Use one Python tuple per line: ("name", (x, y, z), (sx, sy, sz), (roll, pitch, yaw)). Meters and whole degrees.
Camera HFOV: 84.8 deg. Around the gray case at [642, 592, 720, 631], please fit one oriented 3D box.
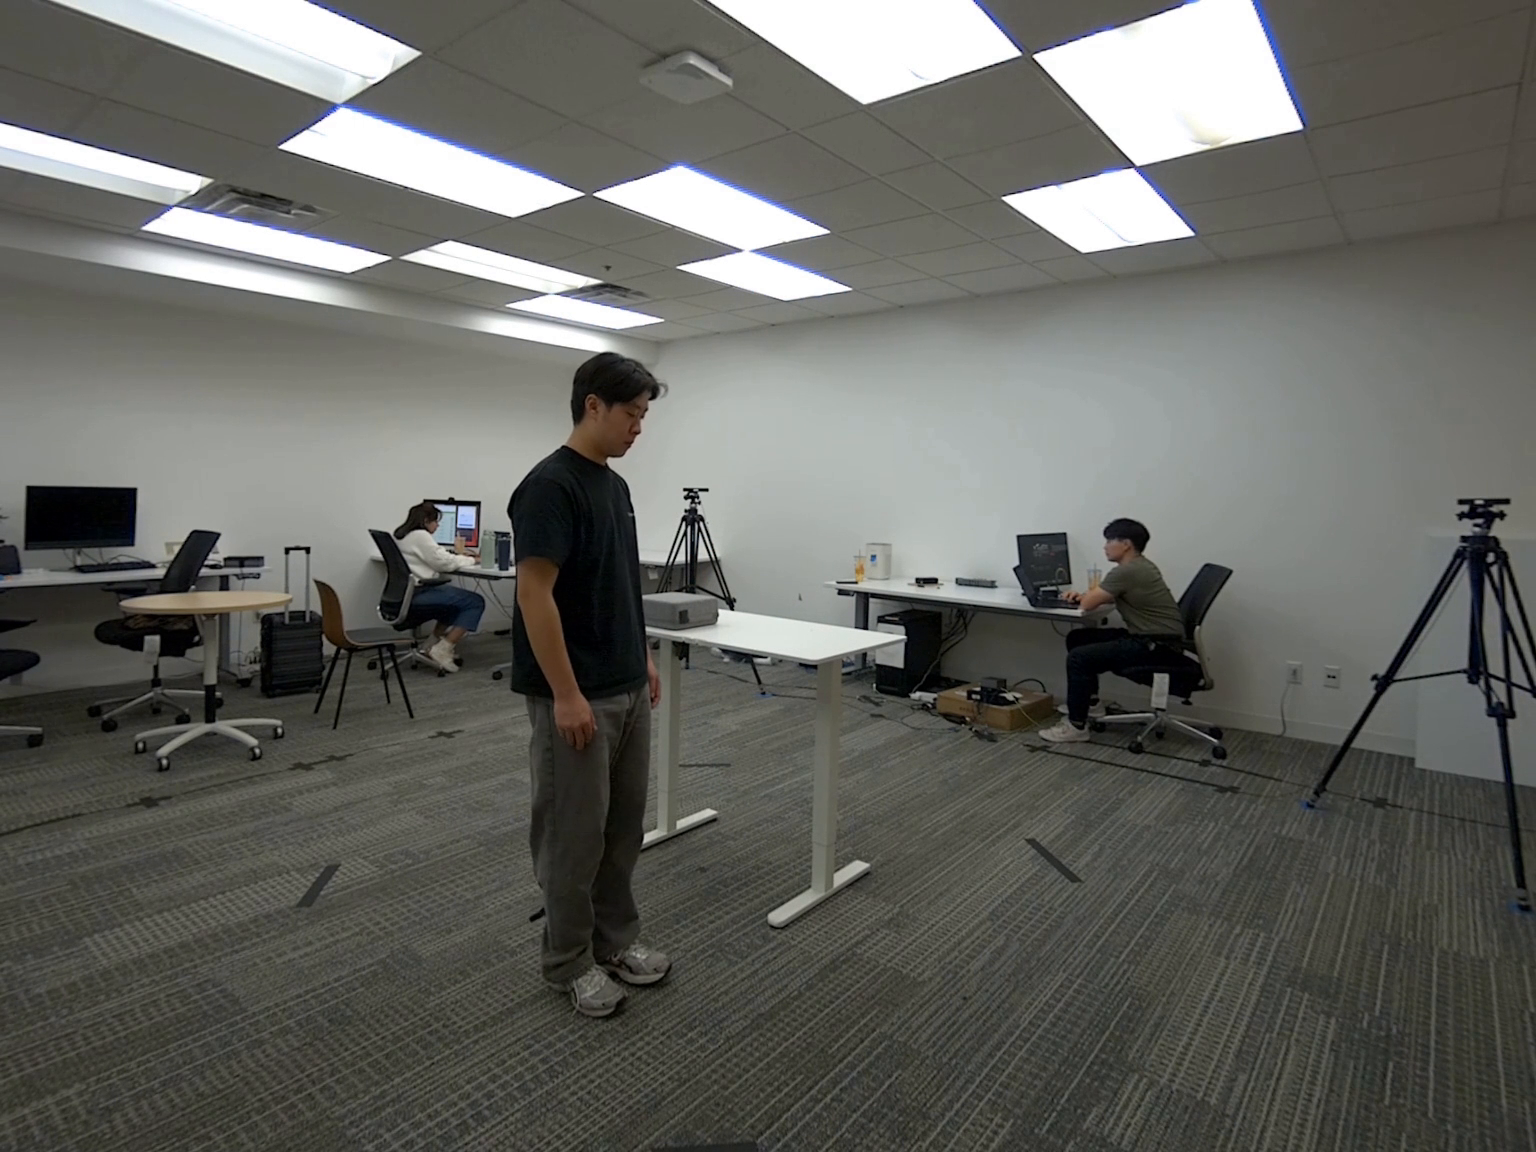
("gray case", (-0.358, 0.123, 3.181), (0.269, 0.104, 0.250), (6, 8, 38))
